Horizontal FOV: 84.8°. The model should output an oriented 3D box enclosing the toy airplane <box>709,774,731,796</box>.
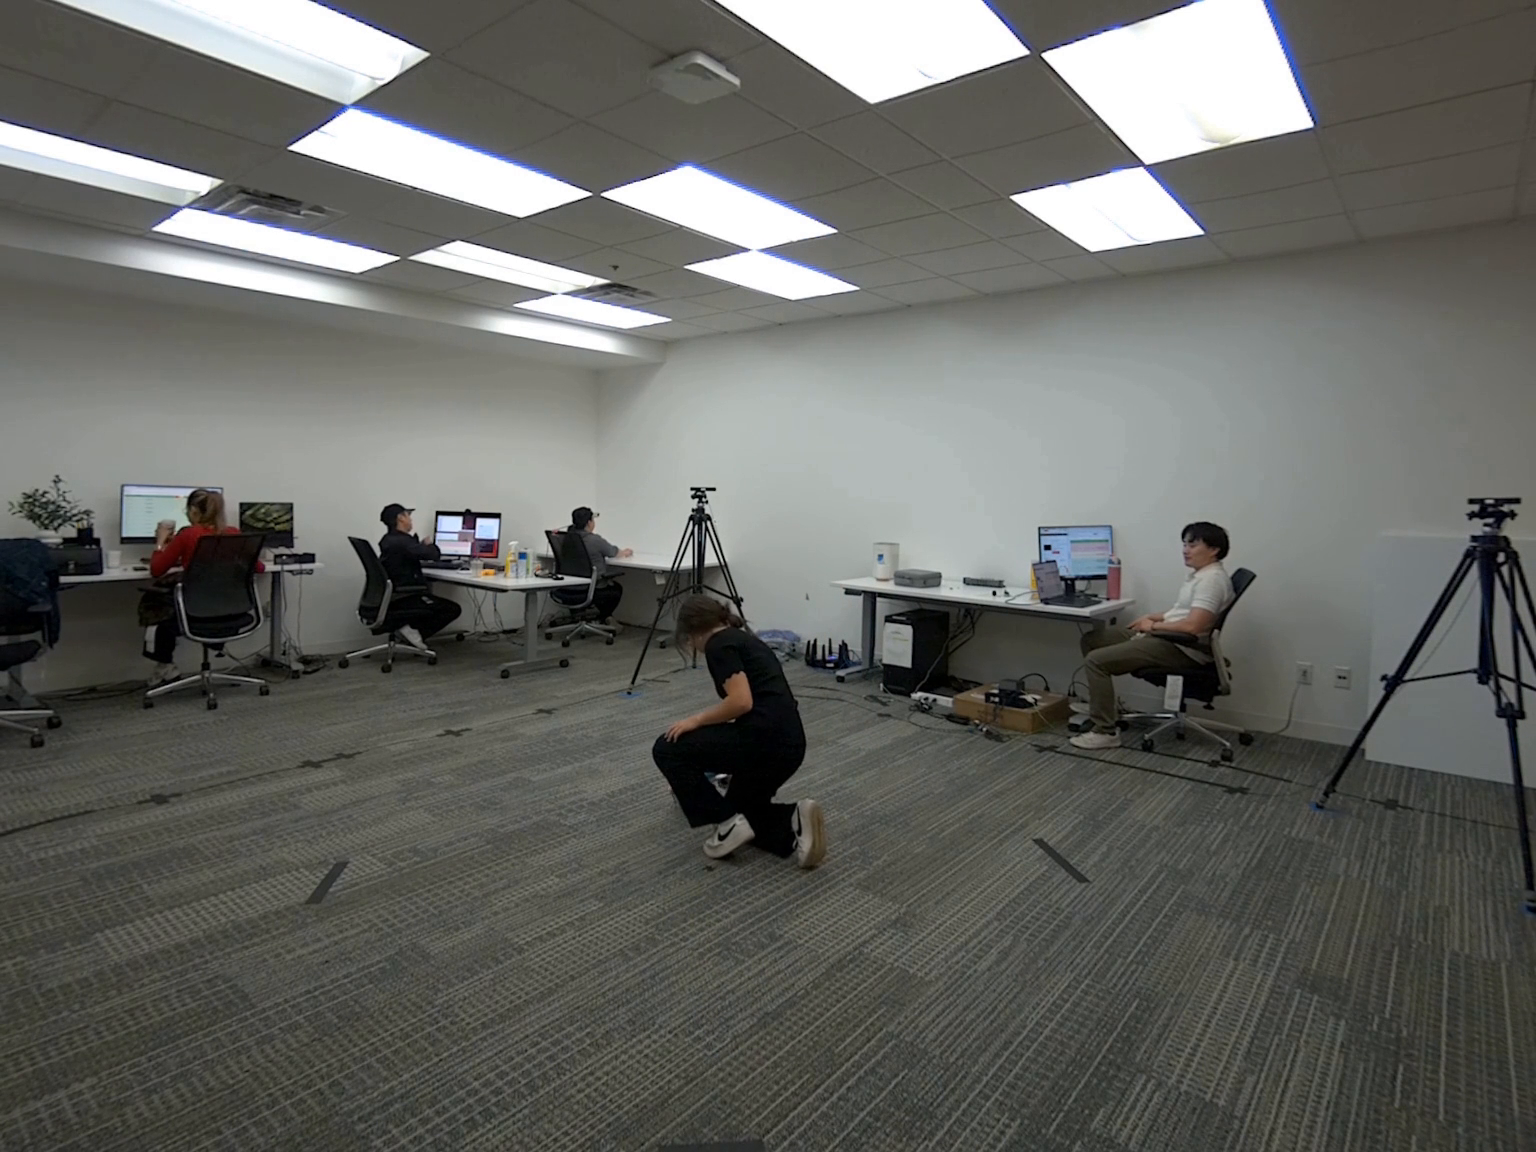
[{"bbox_3d":[-0.313,0.888,3.702,0.257,0.155,0.255,-39,11,-33],"label":"toy airplane"}]
